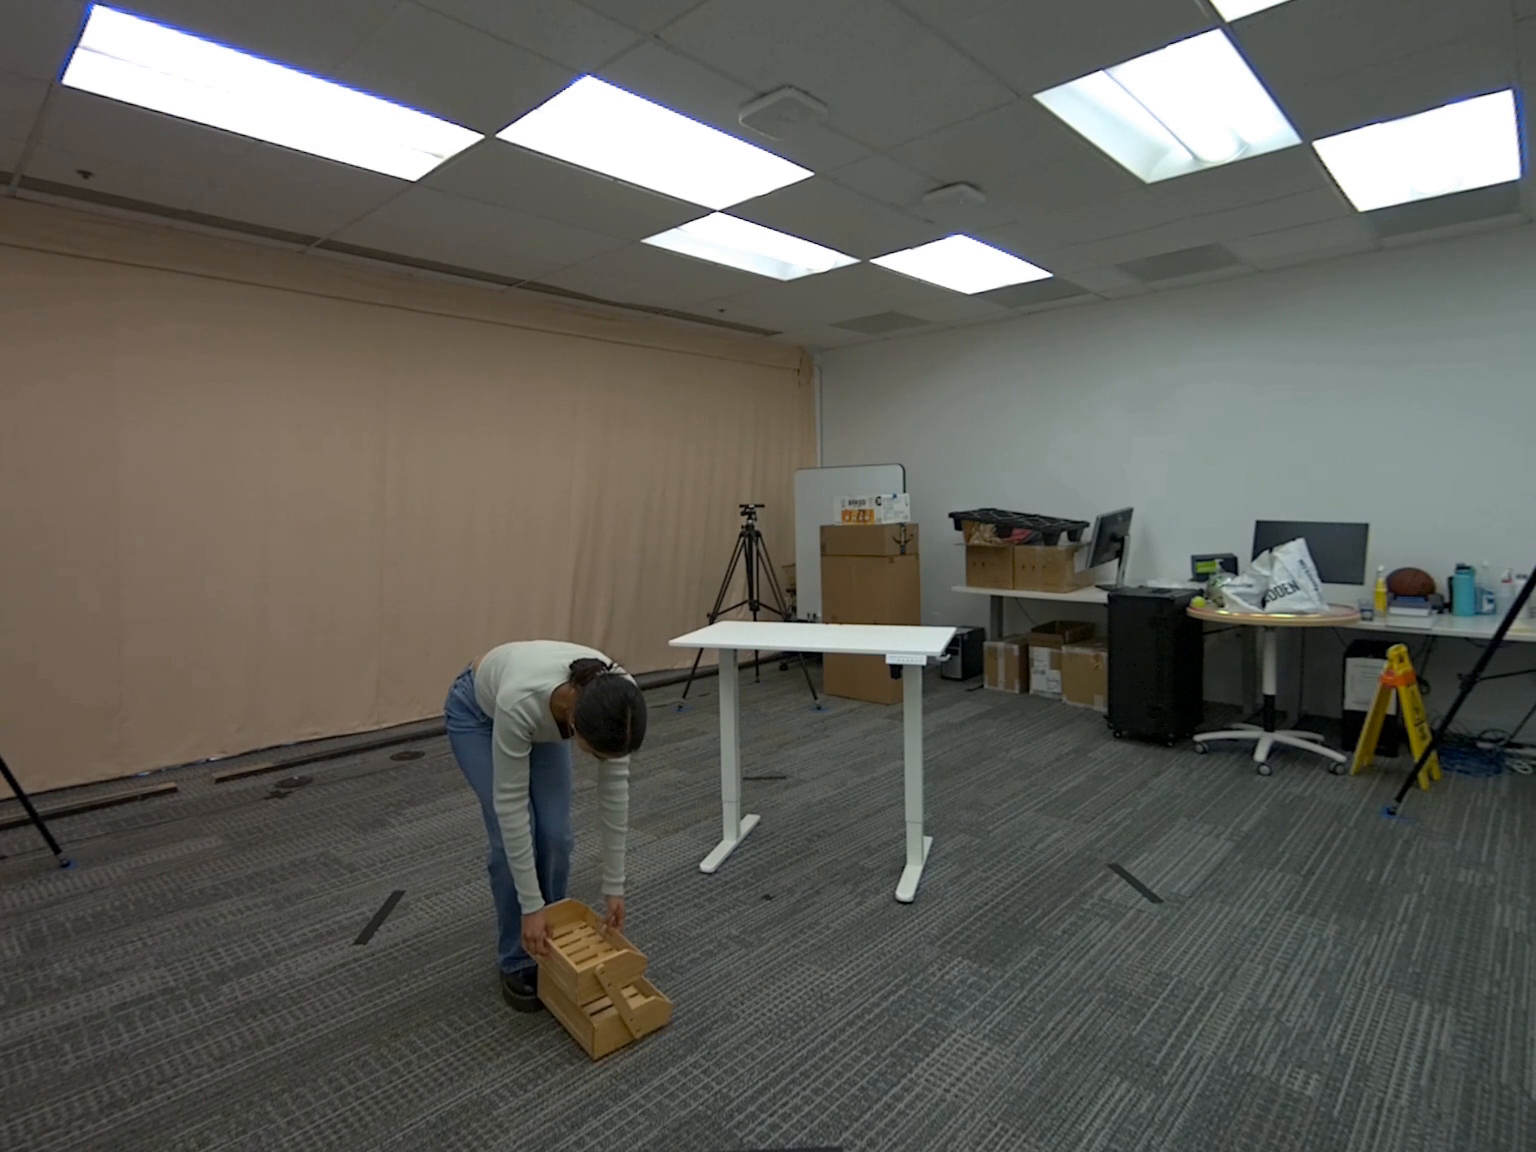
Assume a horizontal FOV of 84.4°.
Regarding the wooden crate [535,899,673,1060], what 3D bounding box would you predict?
[{"bbox_3d":[-0.454,1.049,2.261,0.293,0.272,0.336,-6,11,-41],"label":"wooden crate"}]
